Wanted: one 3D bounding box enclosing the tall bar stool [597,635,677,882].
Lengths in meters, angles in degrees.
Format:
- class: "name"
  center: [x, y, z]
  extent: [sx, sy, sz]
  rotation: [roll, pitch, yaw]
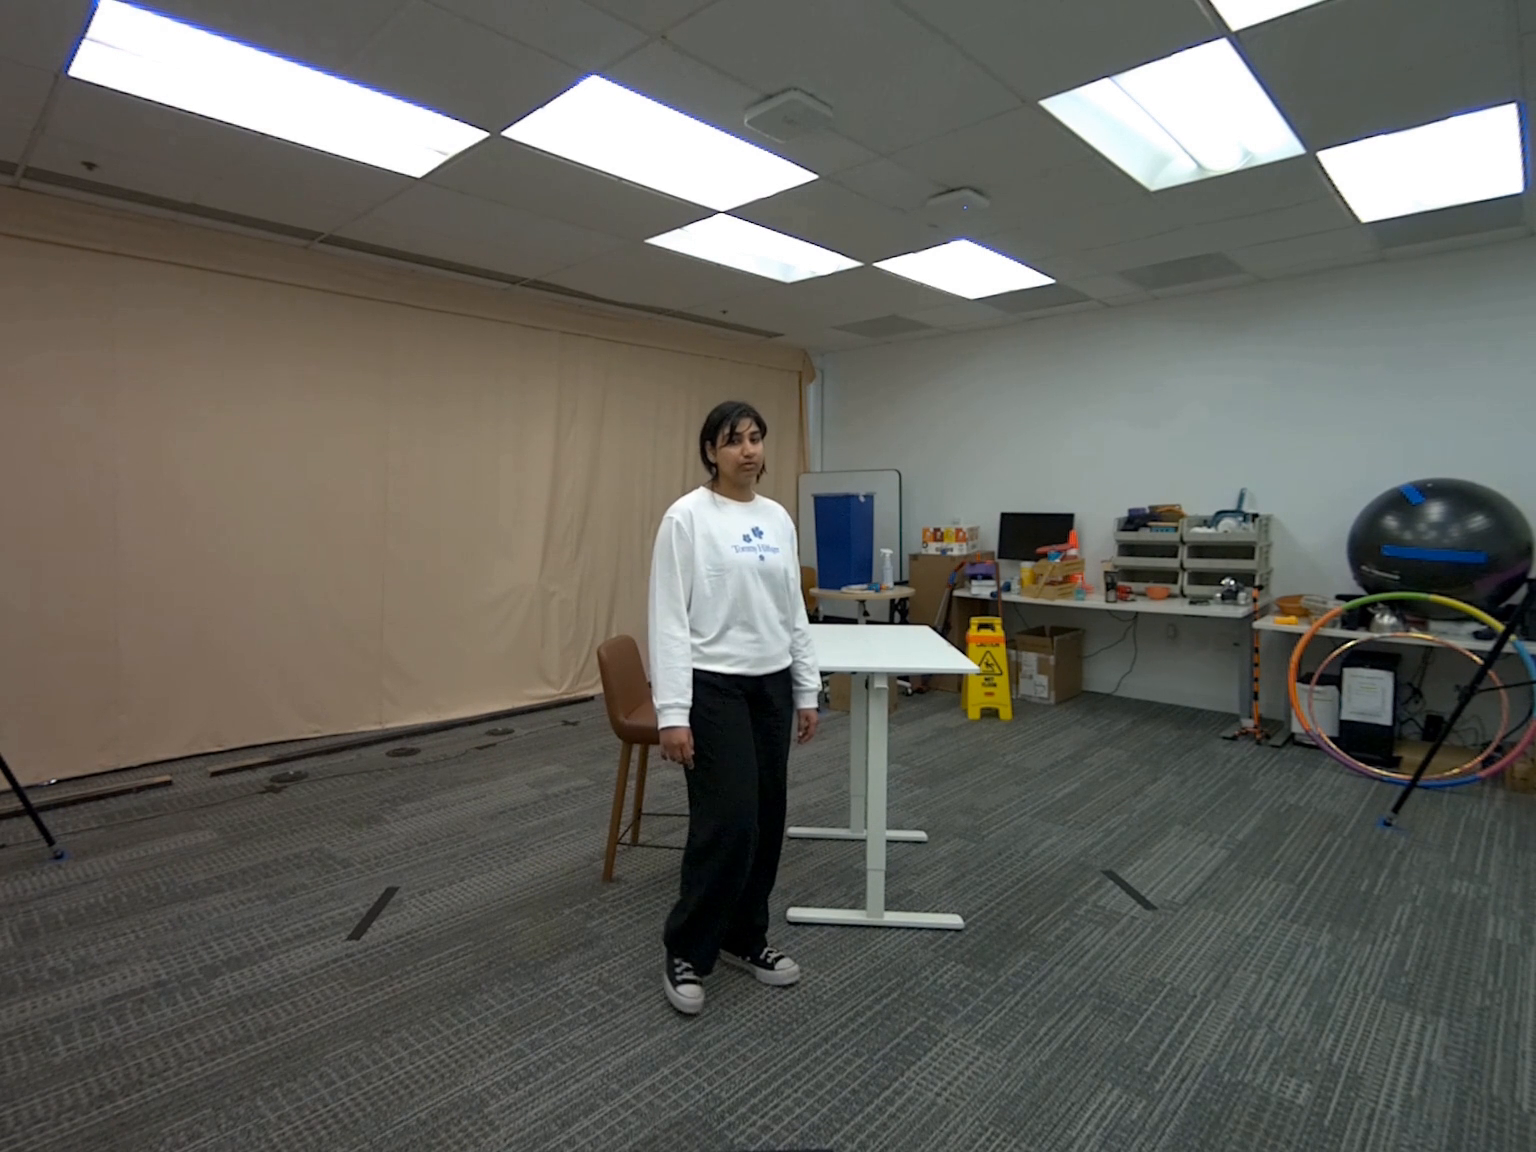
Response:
- class: "tall bar stool"
  center: [-0.373, 0.690, 3.240]
  extent: [0.474, 0.888, 0.451]
  rotation: [-1, 3, 11]
